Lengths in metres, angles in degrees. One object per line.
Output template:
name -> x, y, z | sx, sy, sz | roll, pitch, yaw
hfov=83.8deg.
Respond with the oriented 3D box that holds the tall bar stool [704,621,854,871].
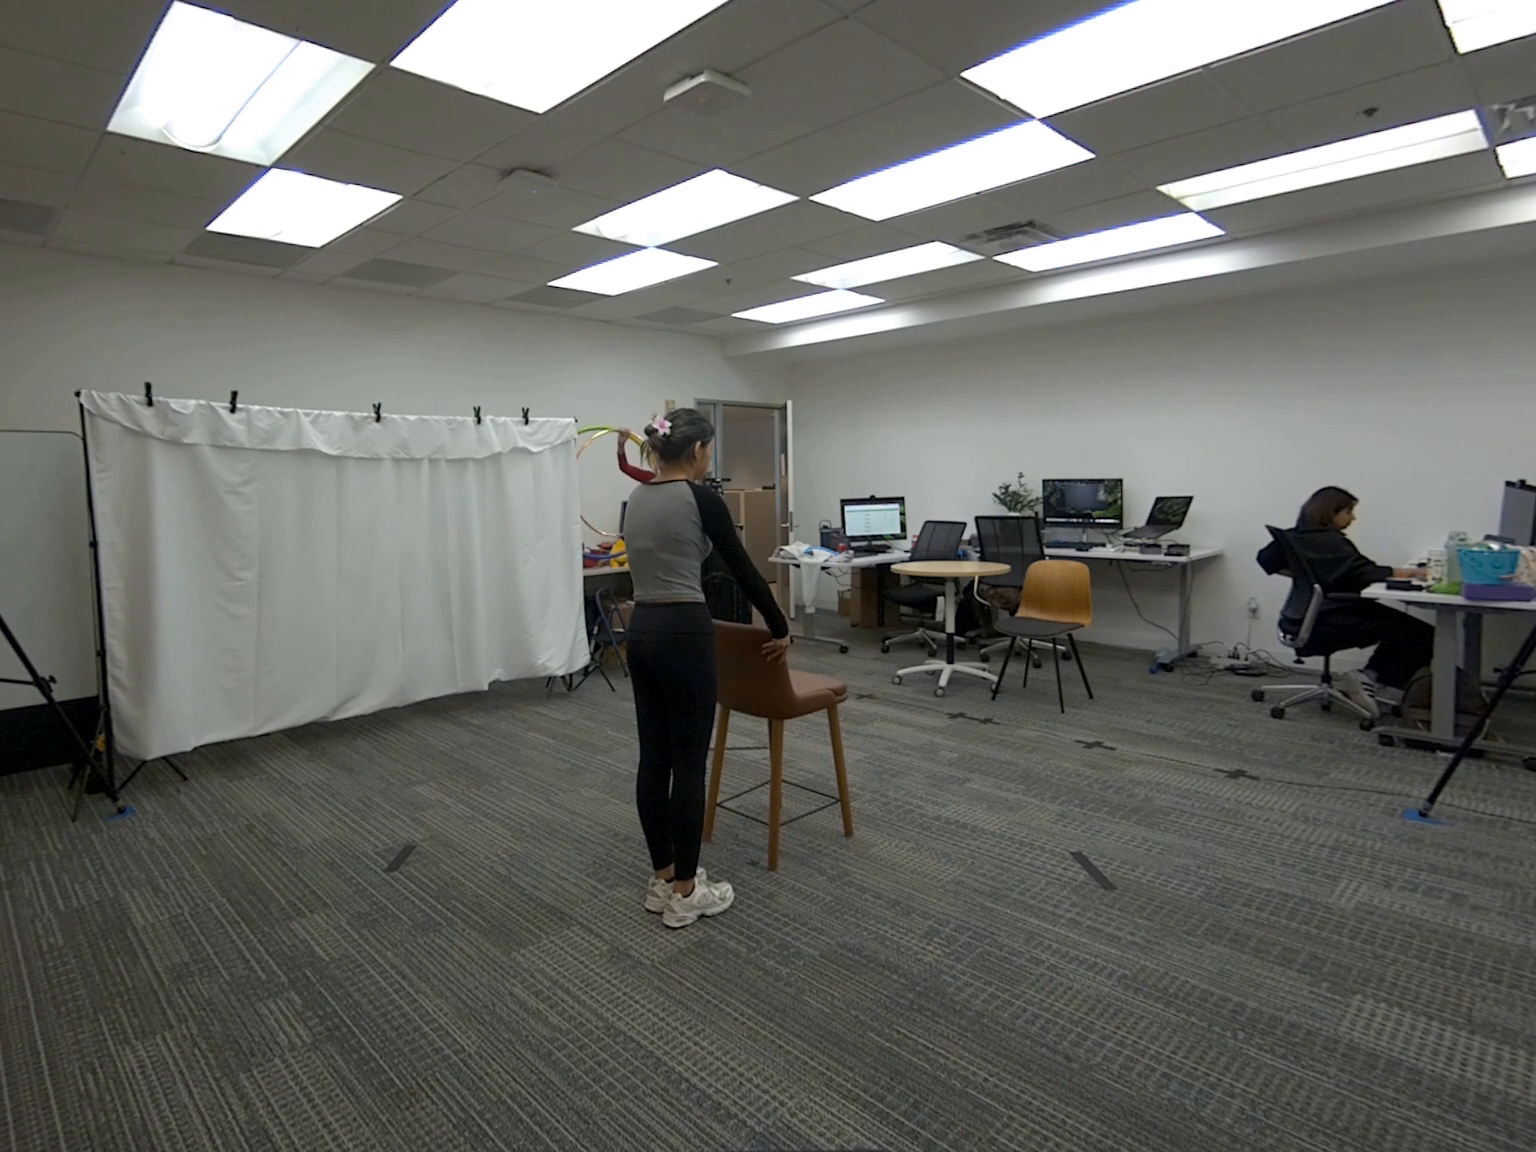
tall bar stool -> 0.023, 0.581, 3.291 | 0.456, 0.885, 0.470 | -7, 8, -44
